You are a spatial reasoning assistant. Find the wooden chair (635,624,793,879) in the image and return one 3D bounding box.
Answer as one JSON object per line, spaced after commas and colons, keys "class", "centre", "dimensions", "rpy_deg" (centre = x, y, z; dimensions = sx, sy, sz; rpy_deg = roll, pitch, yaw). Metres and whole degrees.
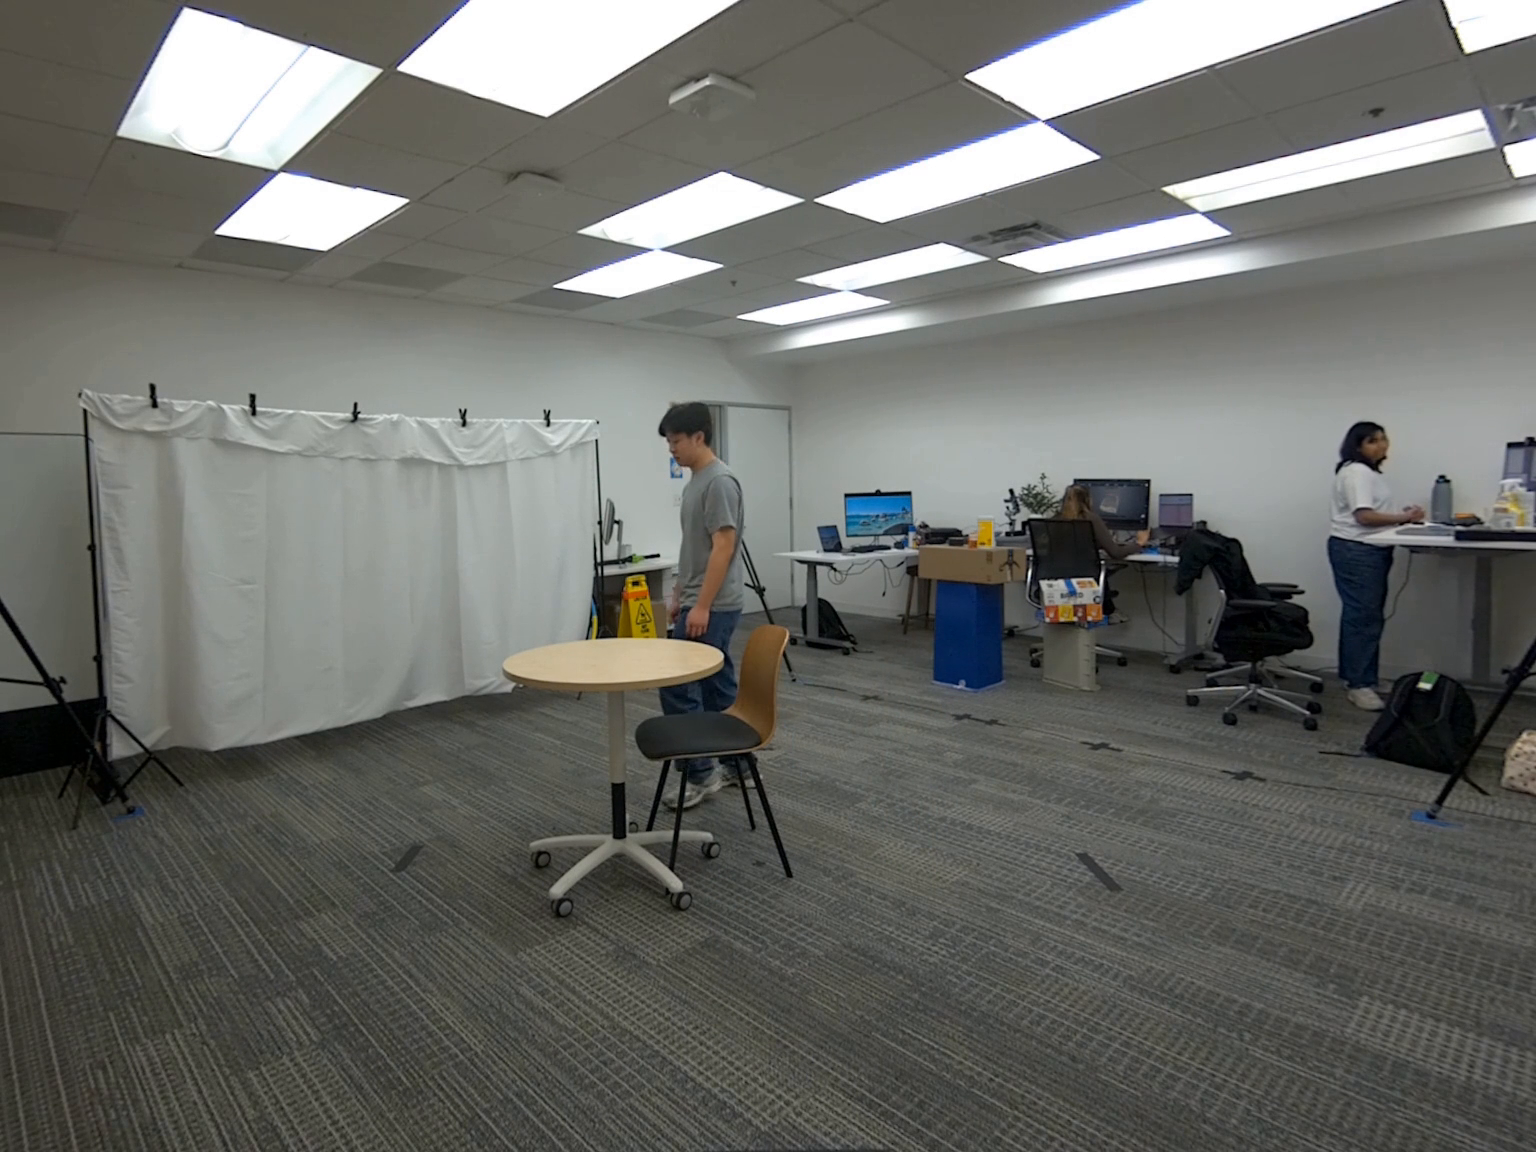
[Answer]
{"class": "wooden chair", "centre": [-0.208, 0.620, 3.111], "dimensions": [0.515, 0.875, 0.487], "rpy_deg": [3, 3, -17]}
